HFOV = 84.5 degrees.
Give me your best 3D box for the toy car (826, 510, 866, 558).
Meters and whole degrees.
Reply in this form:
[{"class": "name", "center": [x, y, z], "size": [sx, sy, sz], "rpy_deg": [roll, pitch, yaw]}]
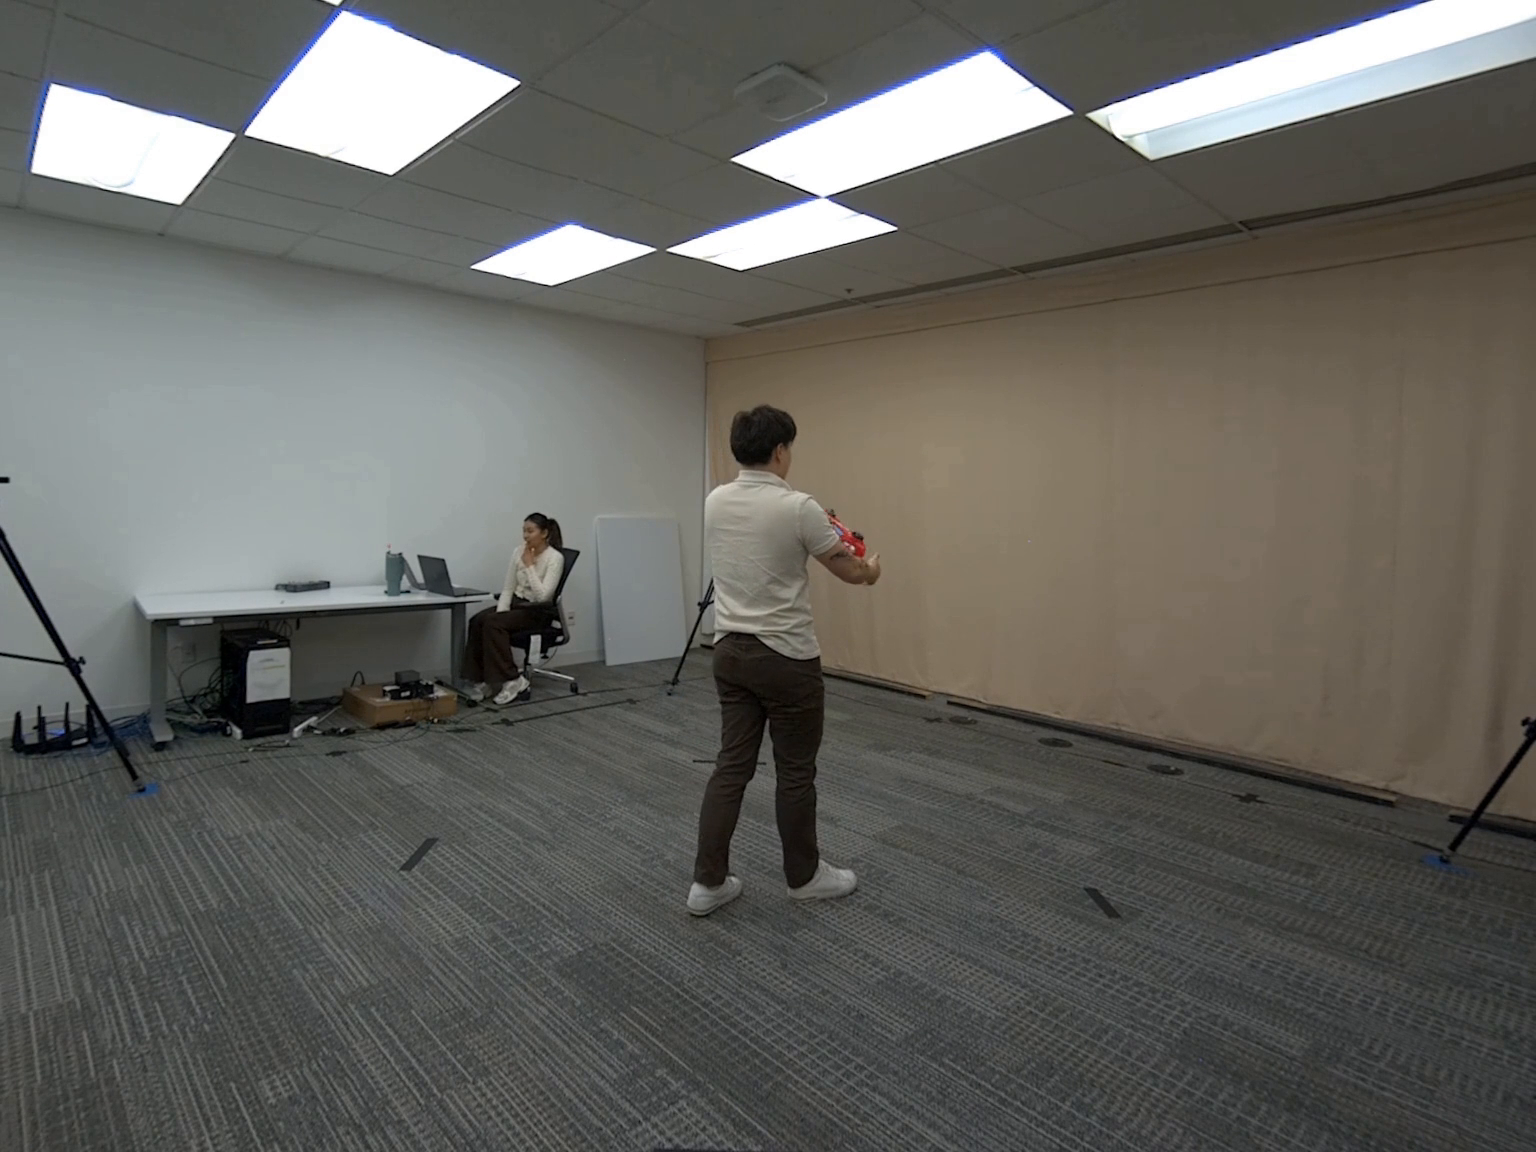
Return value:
[{"class": "toy car", "center": [0.267, -0.131, 3.149], "size": [0.081, 0.129, 0.262], "rpy_deg": [-4, 45, -41]}]
